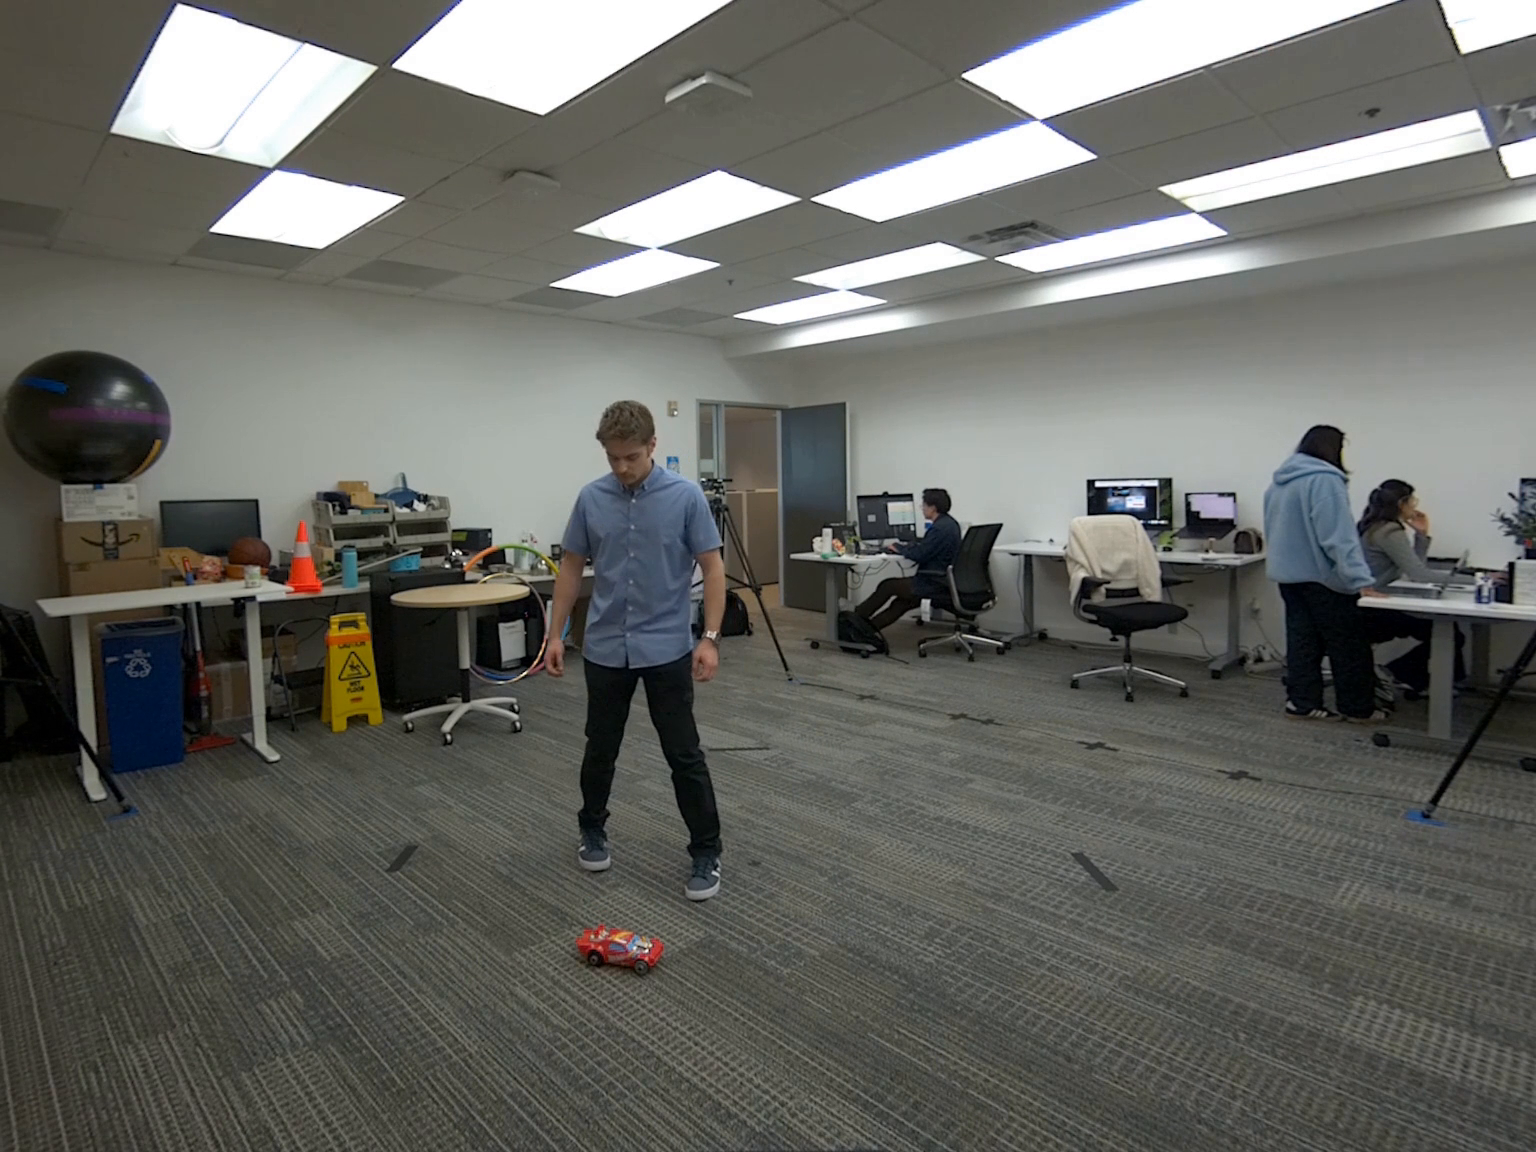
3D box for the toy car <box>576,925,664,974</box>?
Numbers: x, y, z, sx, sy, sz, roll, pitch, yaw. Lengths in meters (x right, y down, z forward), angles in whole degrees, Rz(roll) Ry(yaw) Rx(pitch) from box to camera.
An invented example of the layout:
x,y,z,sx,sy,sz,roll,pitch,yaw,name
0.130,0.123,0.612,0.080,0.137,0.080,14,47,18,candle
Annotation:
x,y,z,sx,sy,sz,roll,pitch,yaw,name
-0.437,1.093,2.500,0.259,0.083,0.129,12,9,16,toy car
